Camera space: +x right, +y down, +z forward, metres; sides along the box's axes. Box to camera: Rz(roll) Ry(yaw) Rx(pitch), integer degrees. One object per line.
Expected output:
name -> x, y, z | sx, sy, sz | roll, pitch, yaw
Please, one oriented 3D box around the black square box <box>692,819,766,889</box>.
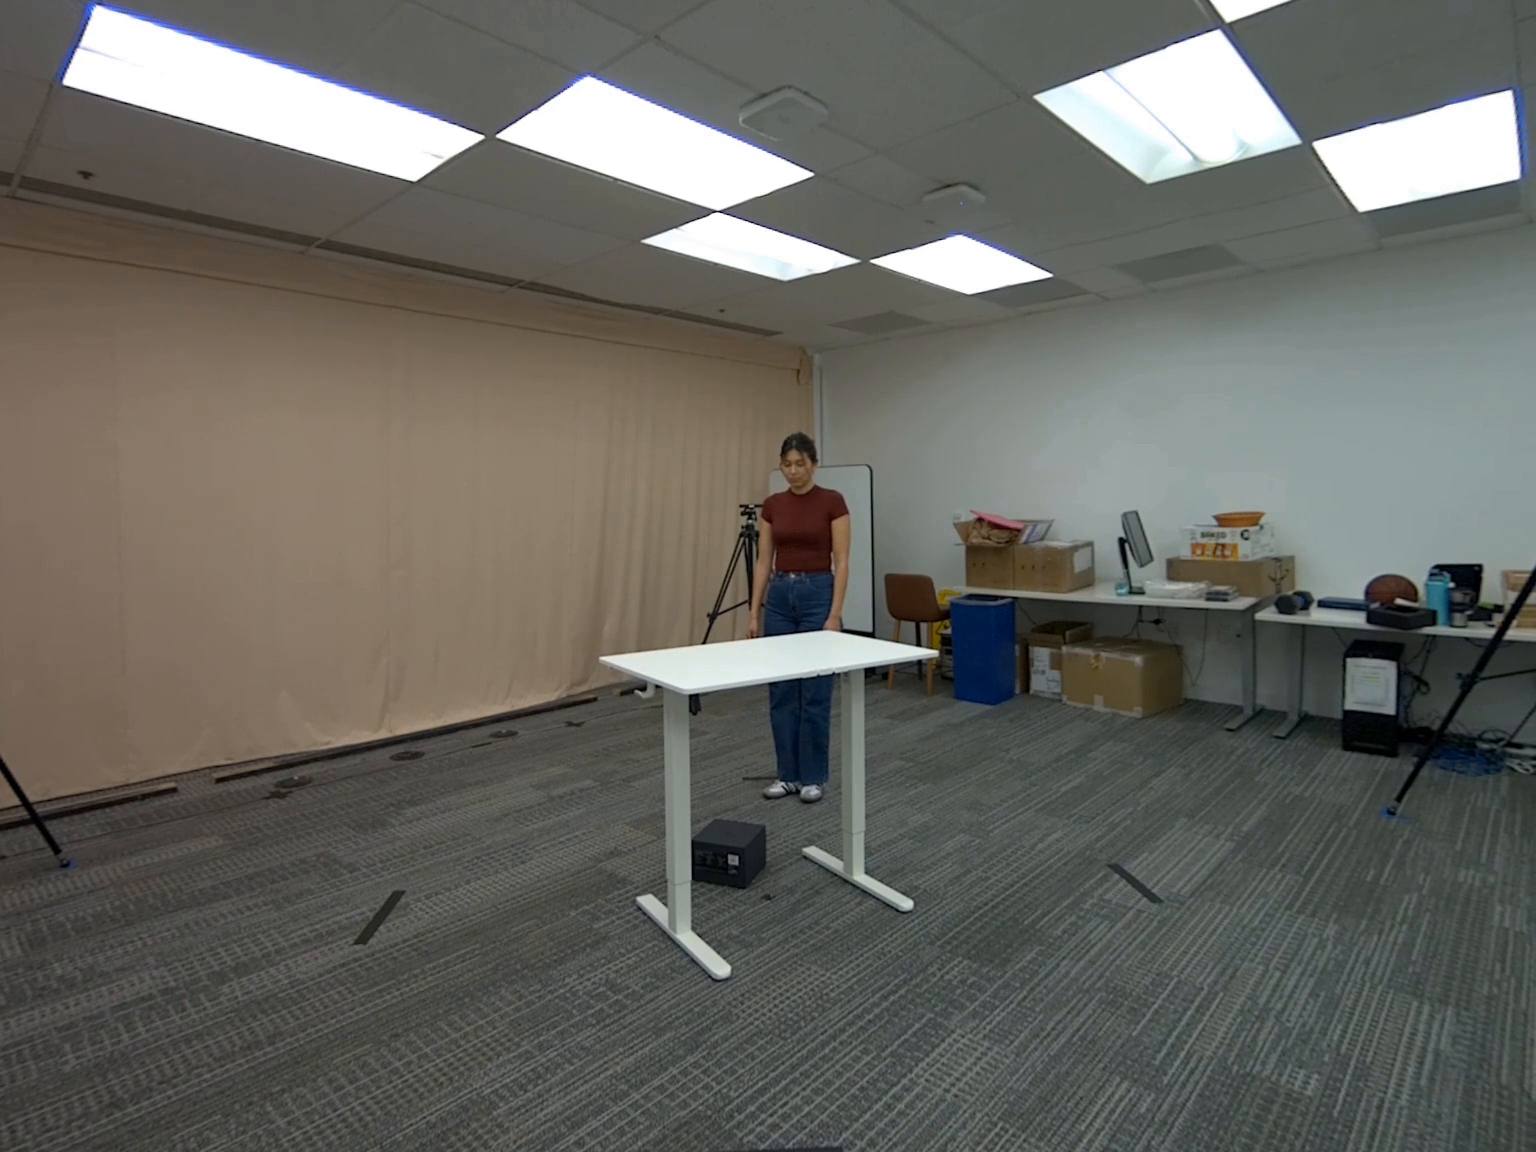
black square box -> -0.143, 1.040, 3.183 | 0.222, 0.155, 0.223 | 0, 5, 22
